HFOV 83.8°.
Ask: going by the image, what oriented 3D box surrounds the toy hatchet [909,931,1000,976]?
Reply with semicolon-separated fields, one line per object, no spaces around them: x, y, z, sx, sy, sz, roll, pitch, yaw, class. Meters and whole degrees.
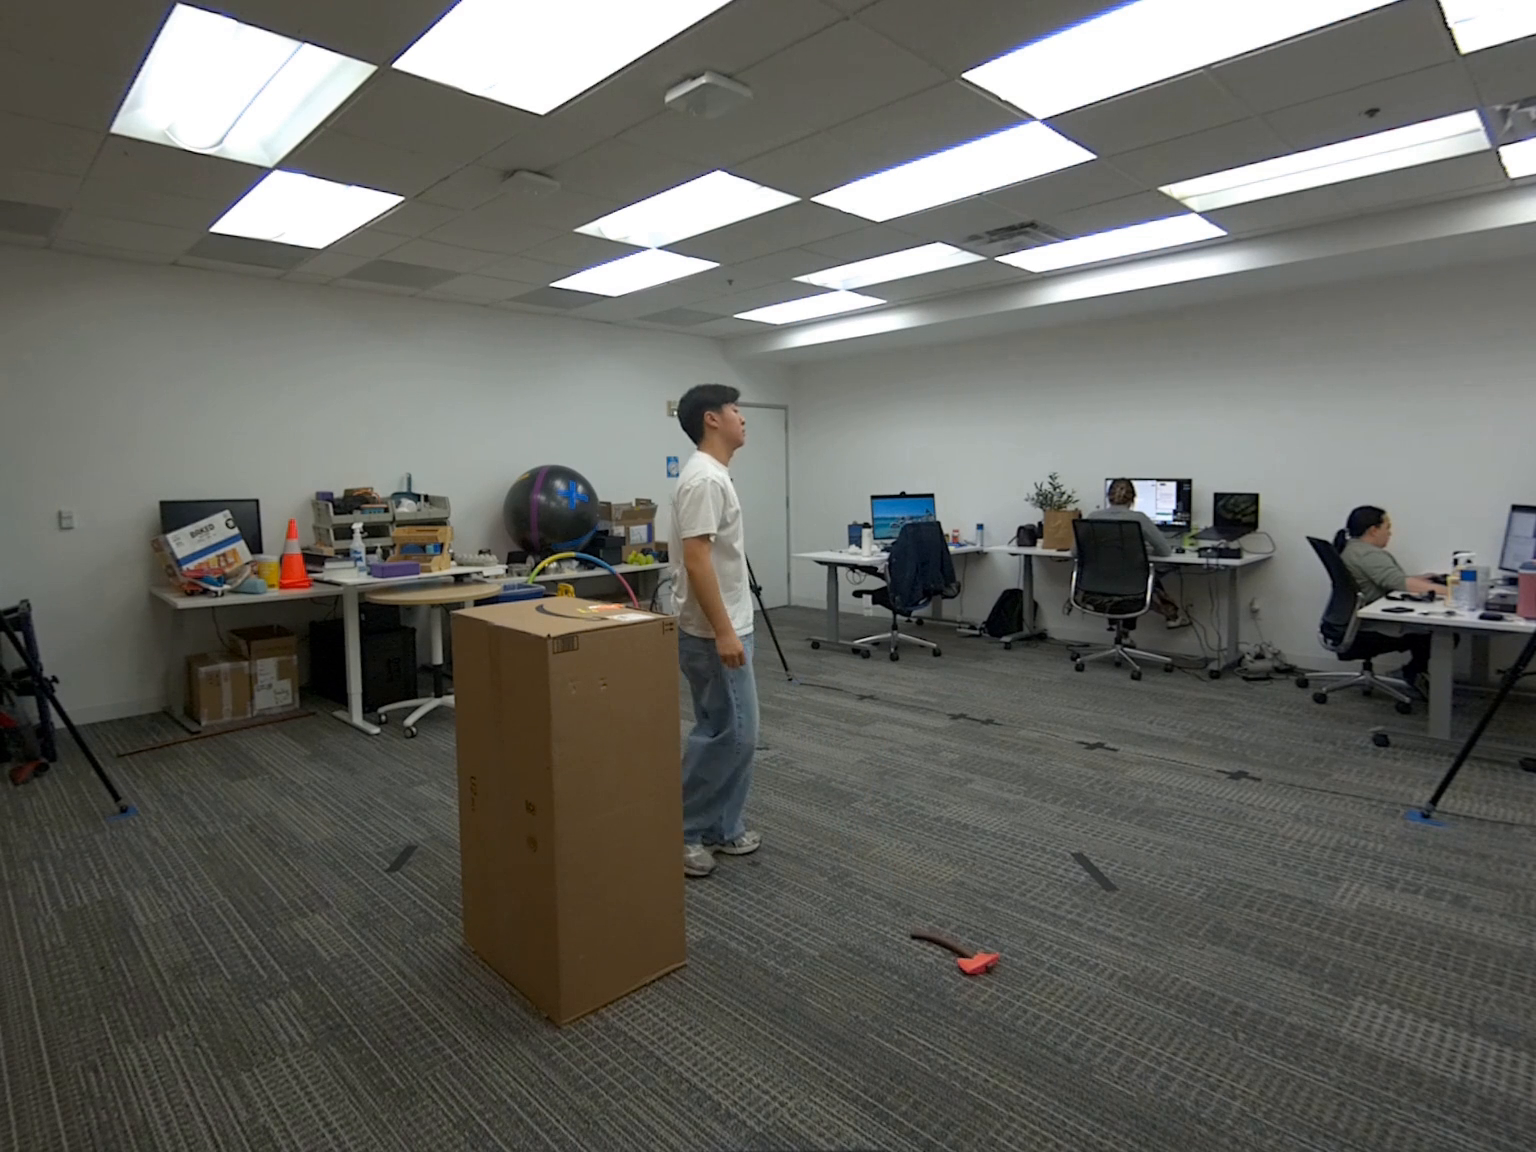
0.524;1.085;2.487;0.278;0.029;0.128;1;9;38;toy hatchet
